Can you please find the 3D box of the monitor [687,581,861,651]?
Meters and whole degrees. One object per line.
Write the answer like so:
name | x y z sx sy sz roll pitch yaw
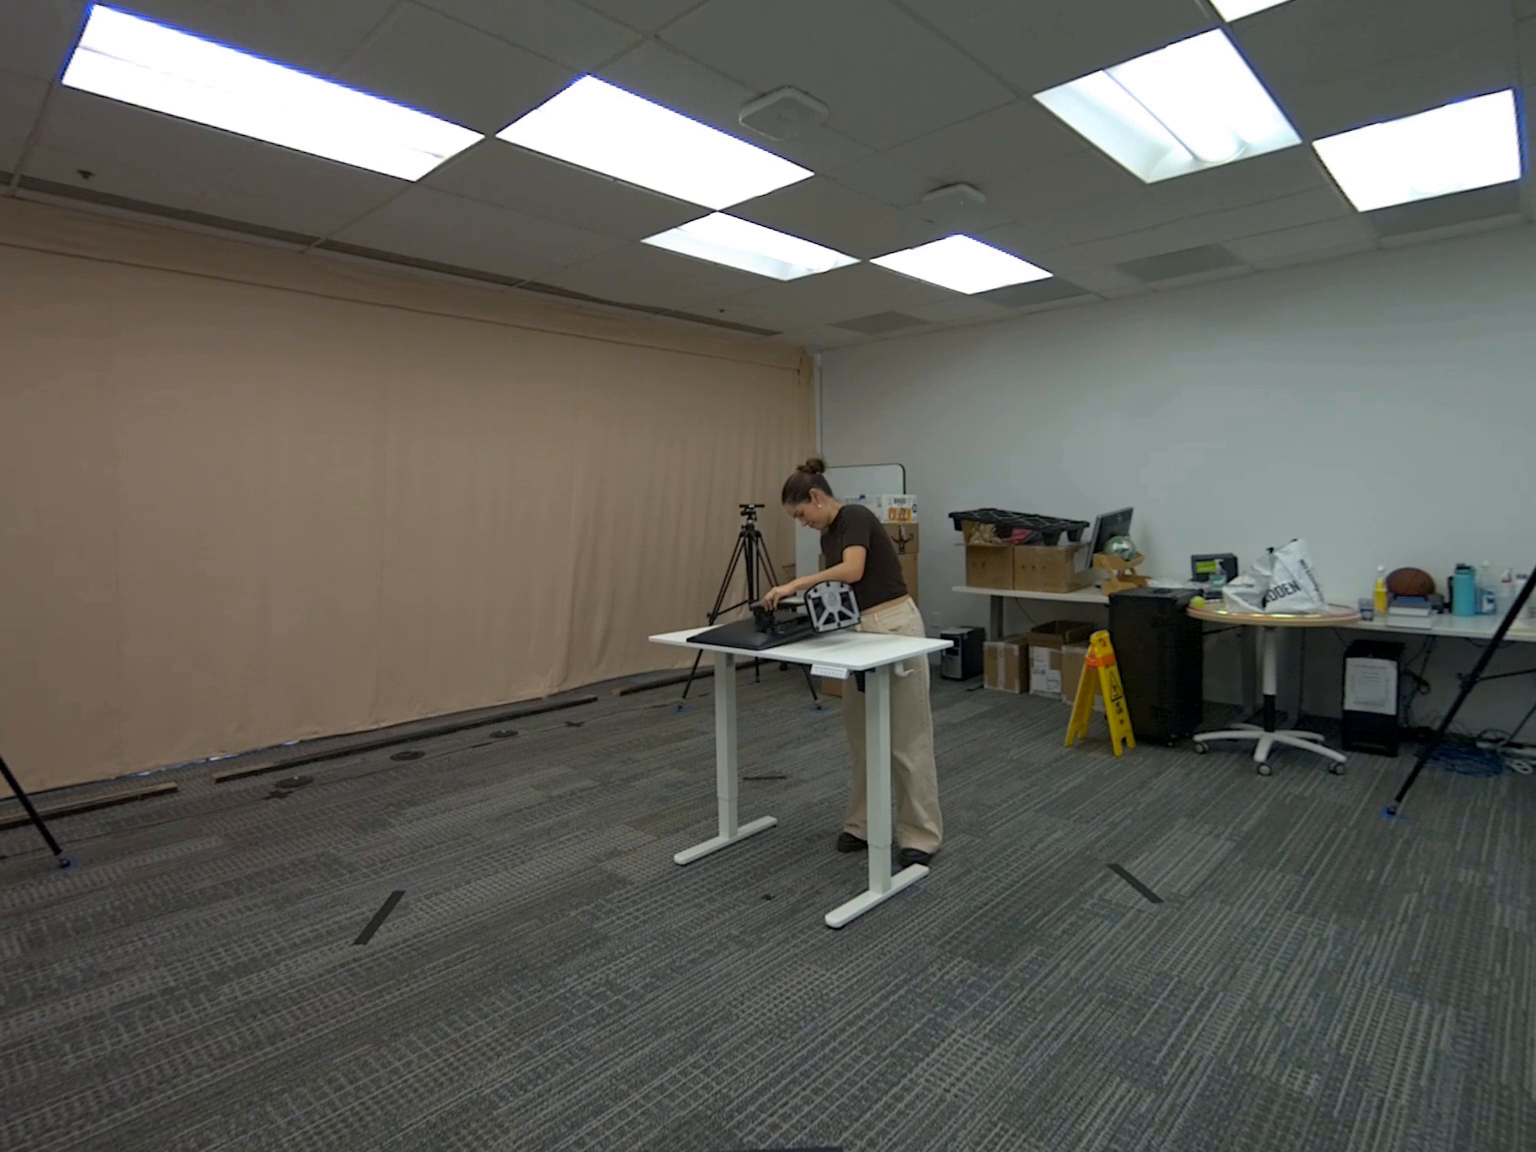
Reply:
monitor | 0.059 0.164 3.168 0.535 0.188 0.523 -19 -7 43
